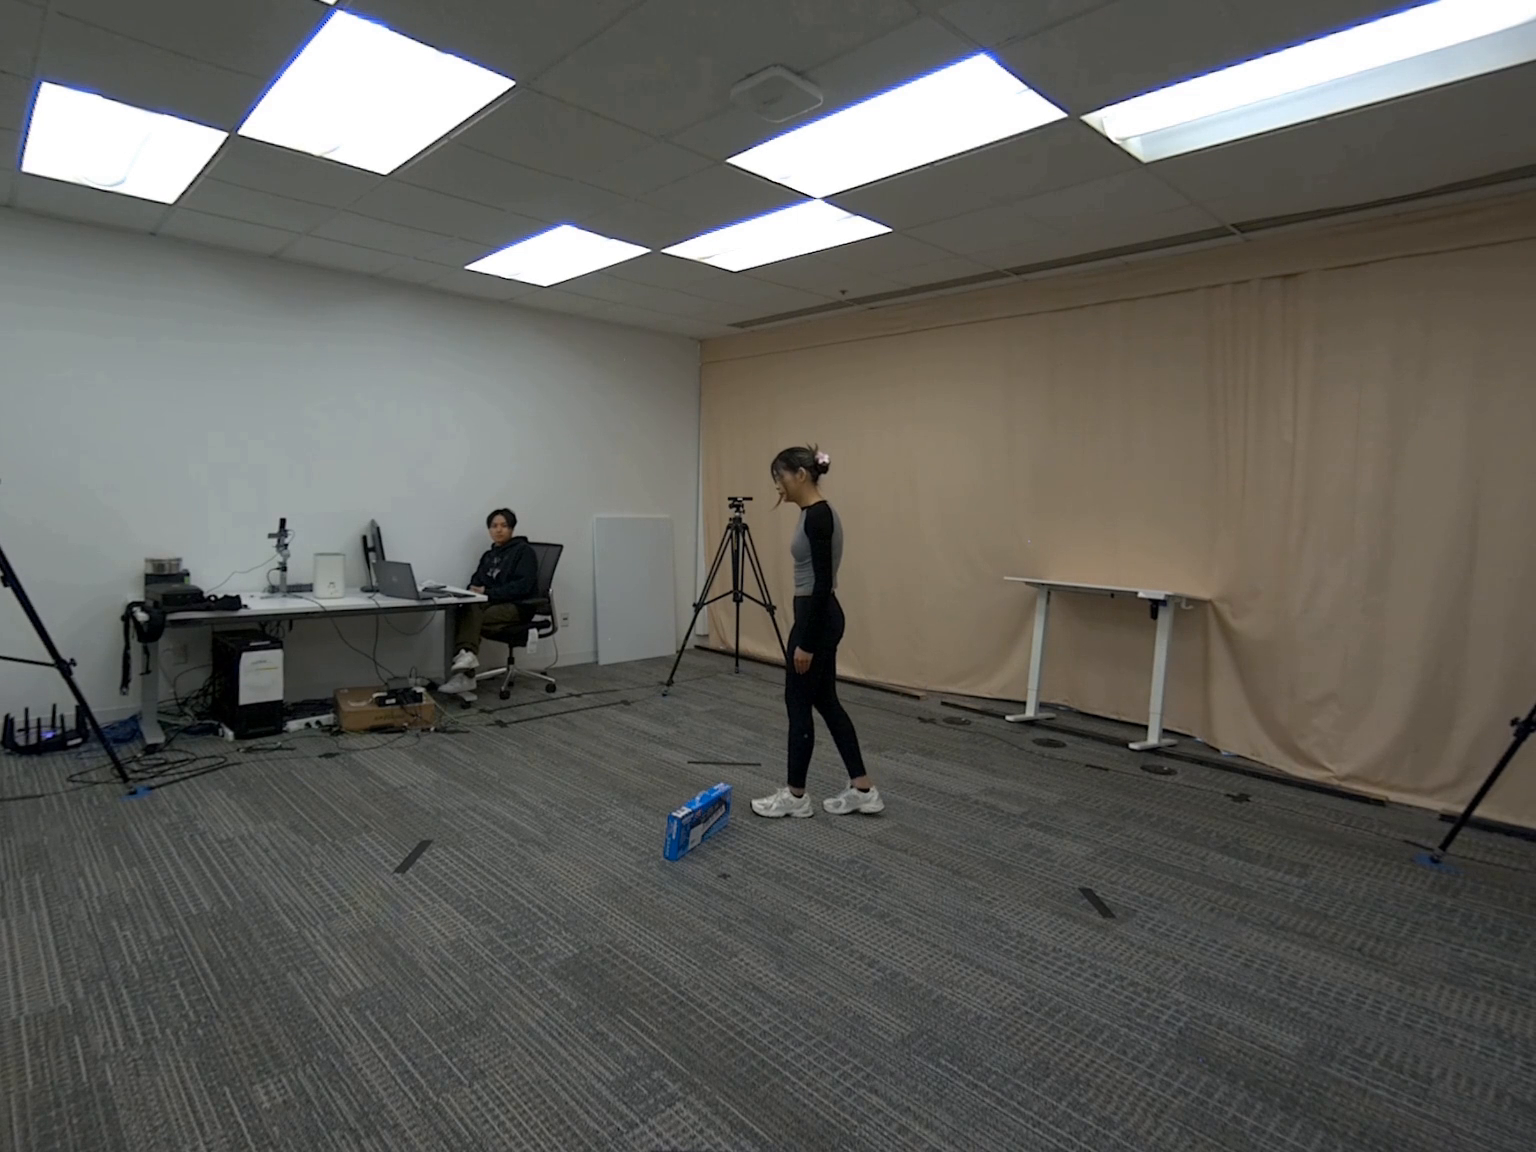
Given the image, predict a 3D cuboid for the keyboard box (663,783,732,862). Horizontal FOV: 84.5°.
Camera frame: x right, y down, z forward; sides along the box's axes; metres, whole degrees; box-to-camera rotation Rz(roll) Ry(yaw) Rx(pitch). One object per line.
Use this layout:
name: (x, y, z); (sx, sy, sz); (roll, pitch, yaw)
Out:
keyboard box: (-0.285, 0.989, 3.412); (0.060, 0.175, 0.429); (10, 8, 24)
